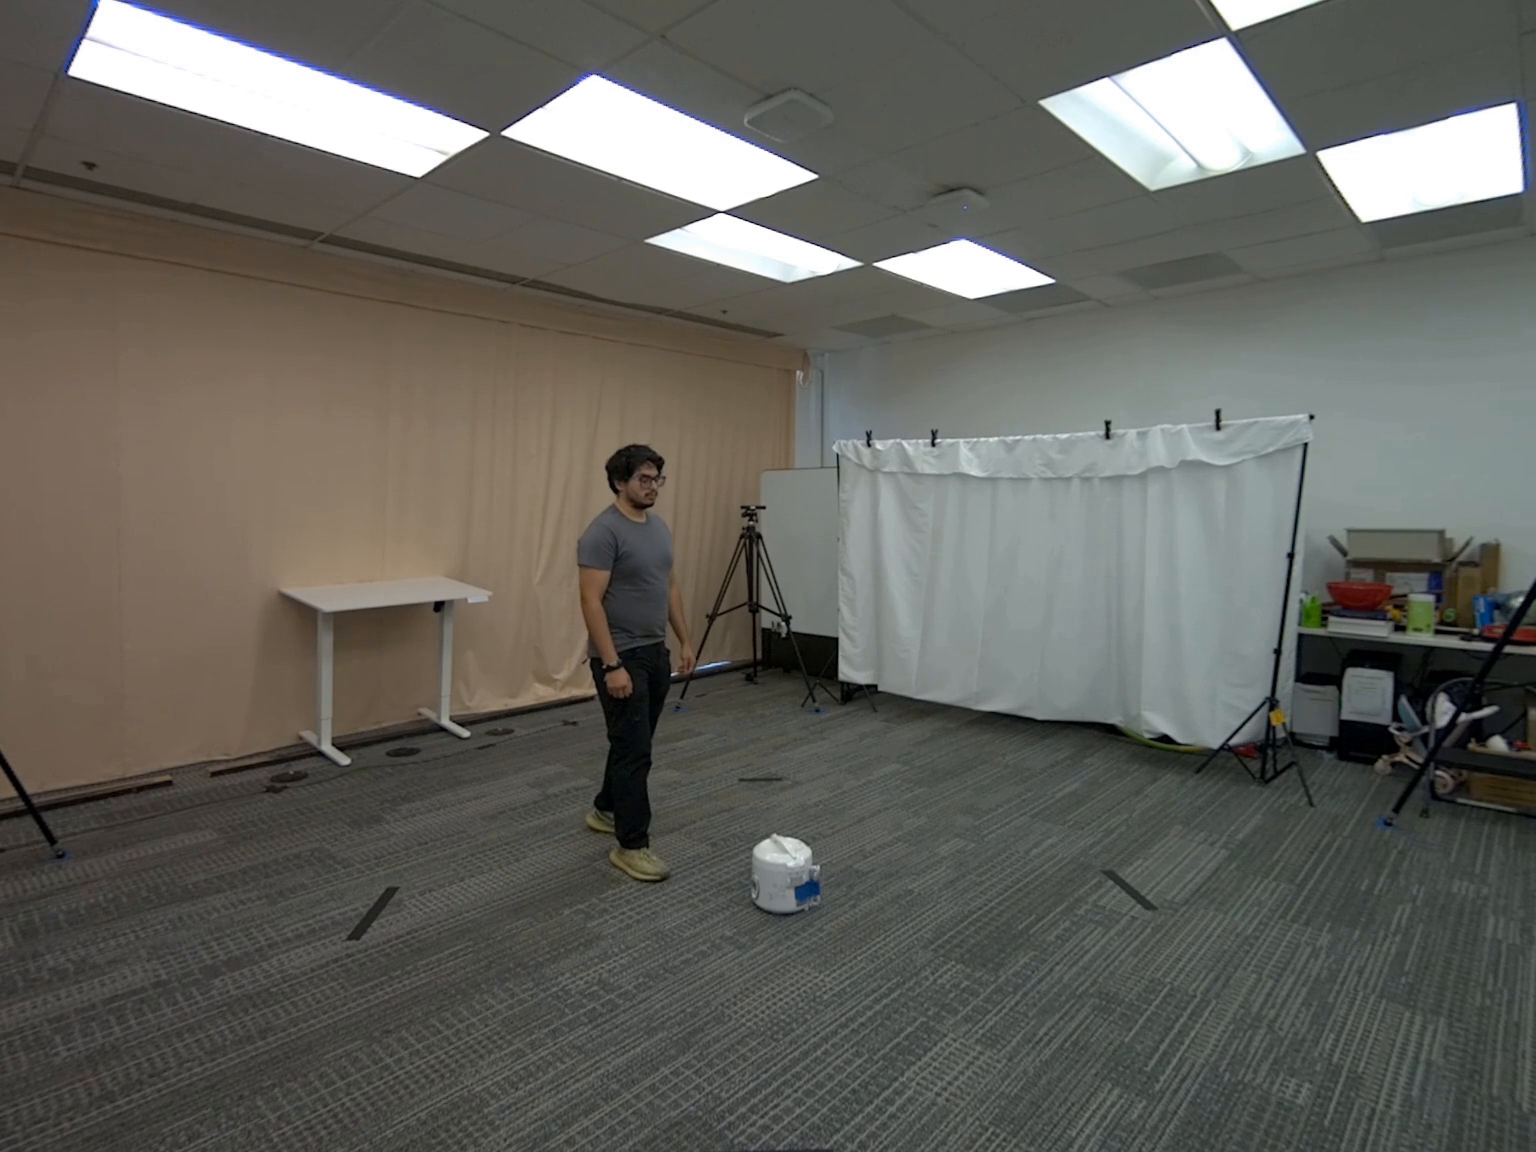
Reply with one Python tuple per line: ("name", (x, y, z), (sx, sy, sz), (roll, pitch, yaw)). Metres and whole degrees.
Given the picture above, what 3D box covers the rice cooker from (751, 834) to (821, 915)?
("rice cooker", (0.053, 1.028, 2.938), (0.212, 0.232, 0.226), (-1, 4, -24))
